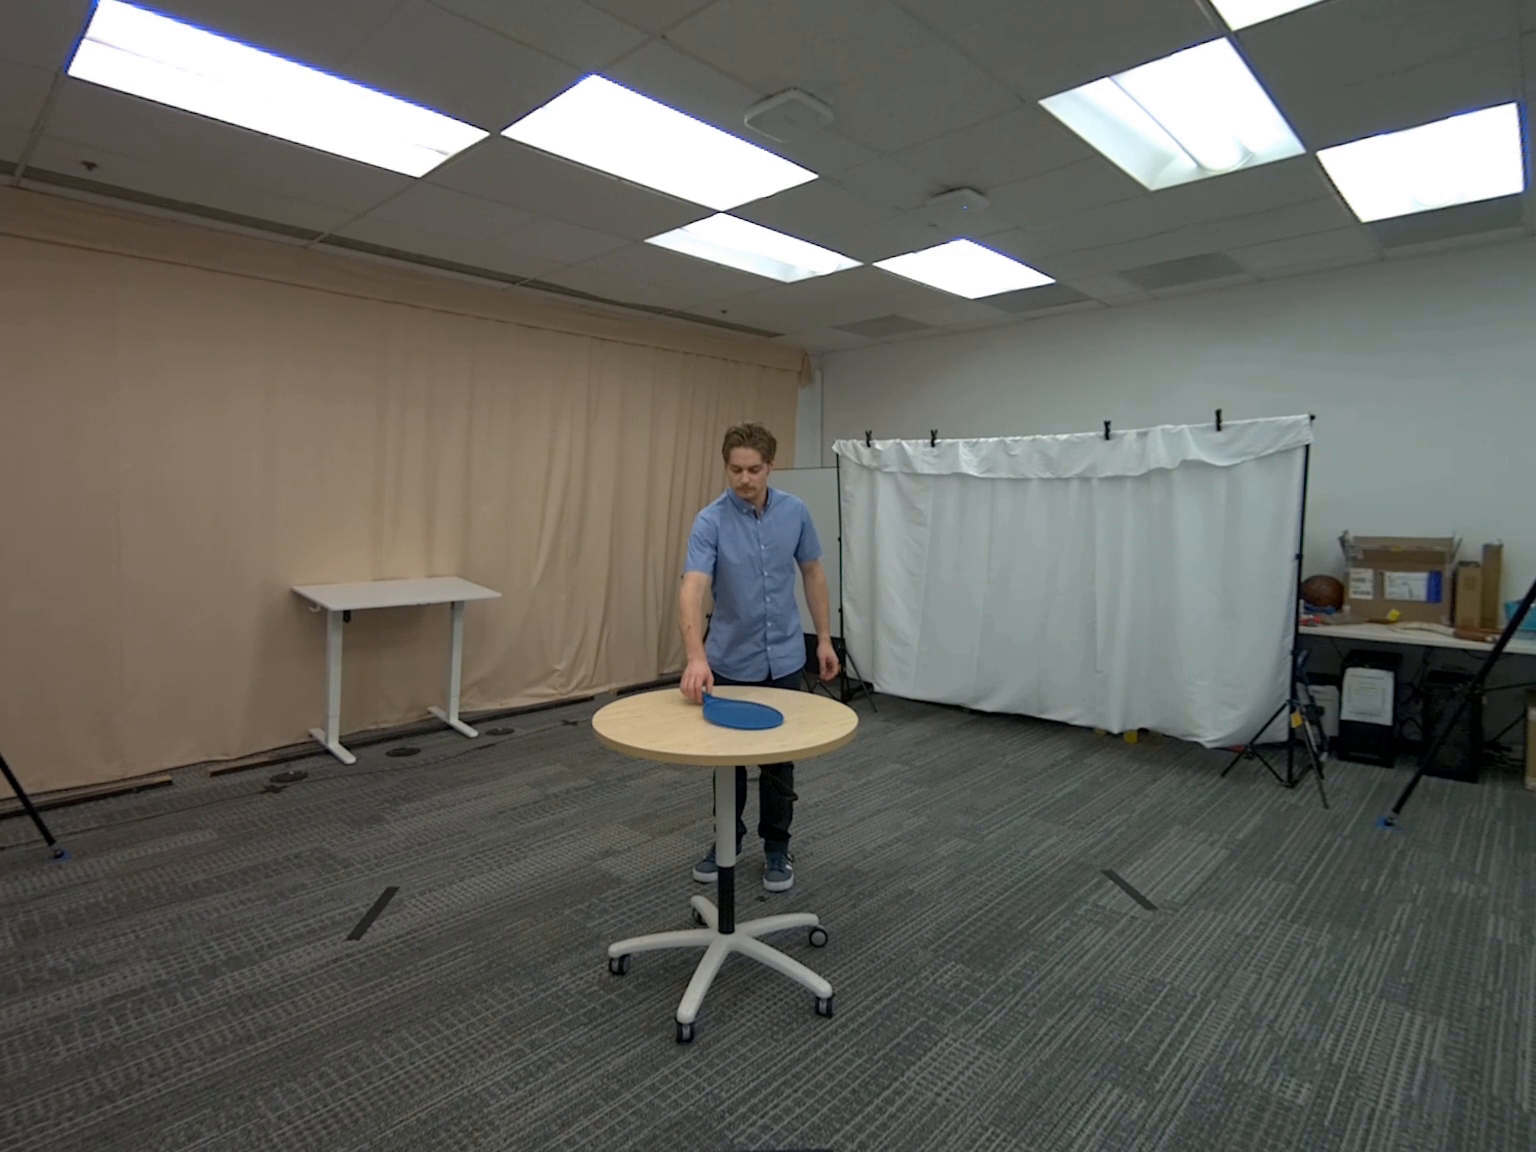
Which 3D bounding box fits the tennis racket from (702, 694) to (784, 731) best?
[{"bbox_3d":[-0.132,0.388,2.472,0.207,0.031,0.447,-6,11,-36],"label":"tennis racket"}]
